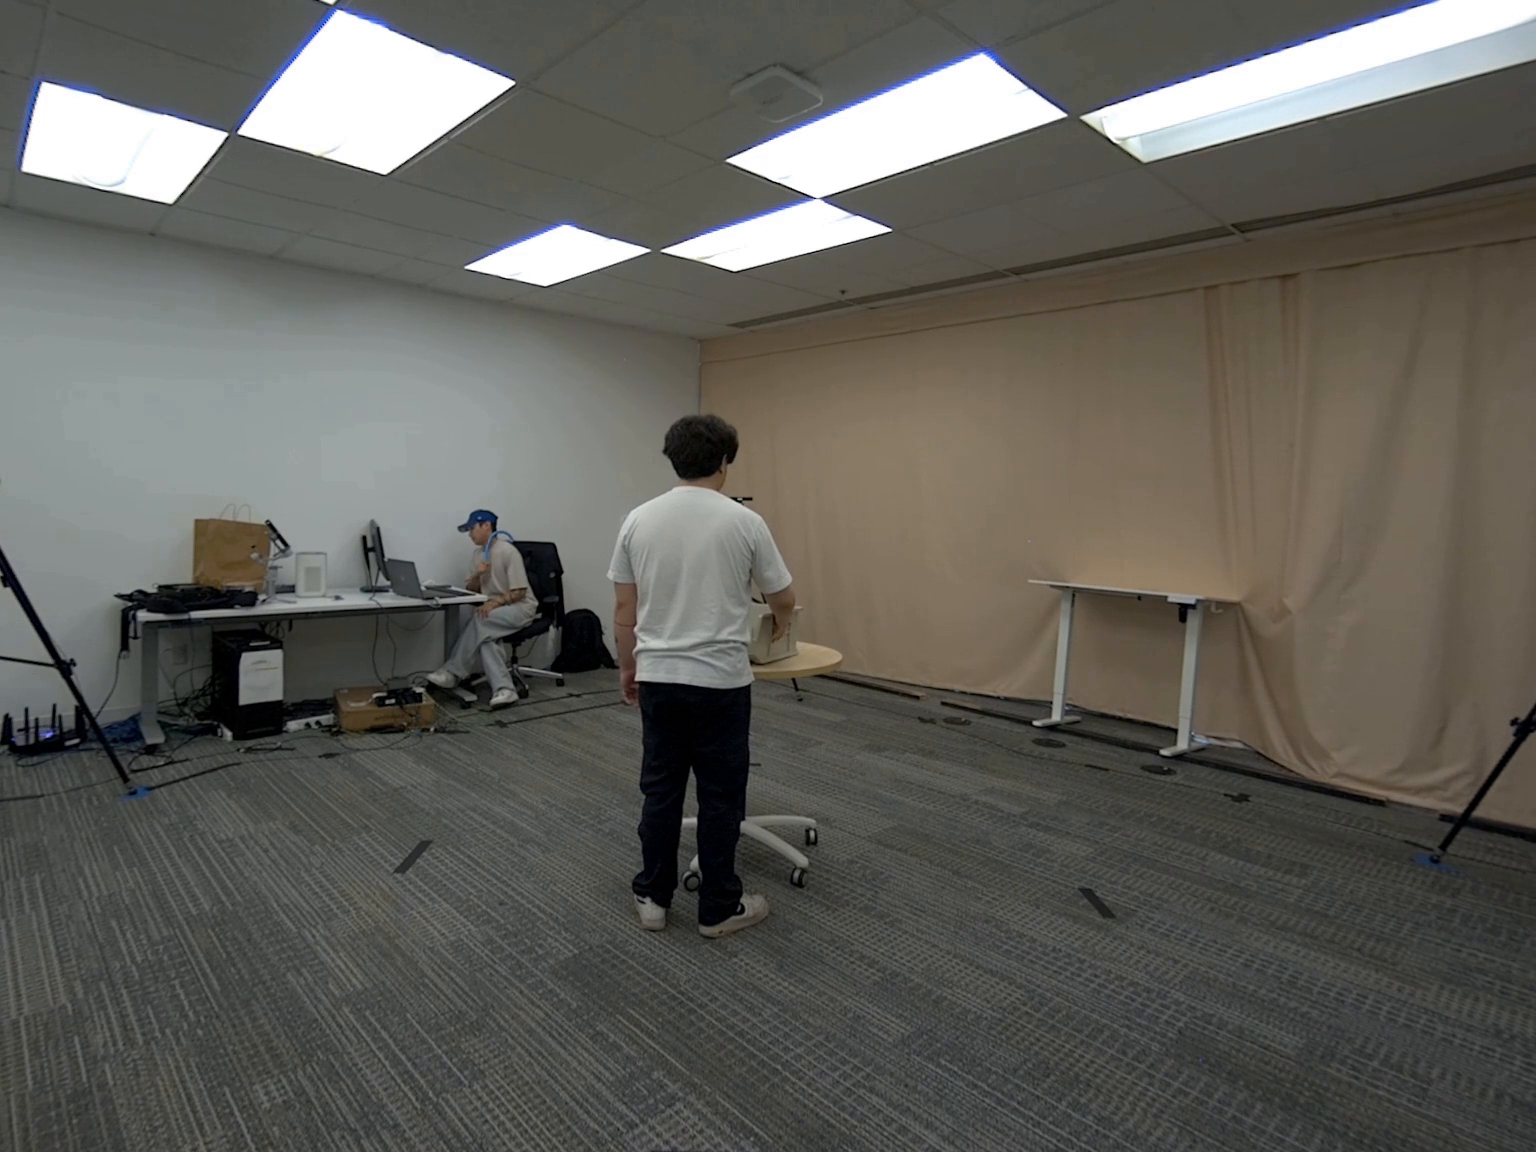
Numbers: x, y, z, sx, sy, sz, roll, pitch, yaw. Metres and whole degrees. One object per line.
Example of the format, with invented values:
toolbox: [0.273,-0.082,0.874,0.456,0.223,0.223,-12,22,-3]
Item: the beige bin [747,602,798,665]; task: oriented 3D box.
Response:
beige bin: [-0.137,0.206,3.207,0.431,0.189,0.370,3,2,28]
